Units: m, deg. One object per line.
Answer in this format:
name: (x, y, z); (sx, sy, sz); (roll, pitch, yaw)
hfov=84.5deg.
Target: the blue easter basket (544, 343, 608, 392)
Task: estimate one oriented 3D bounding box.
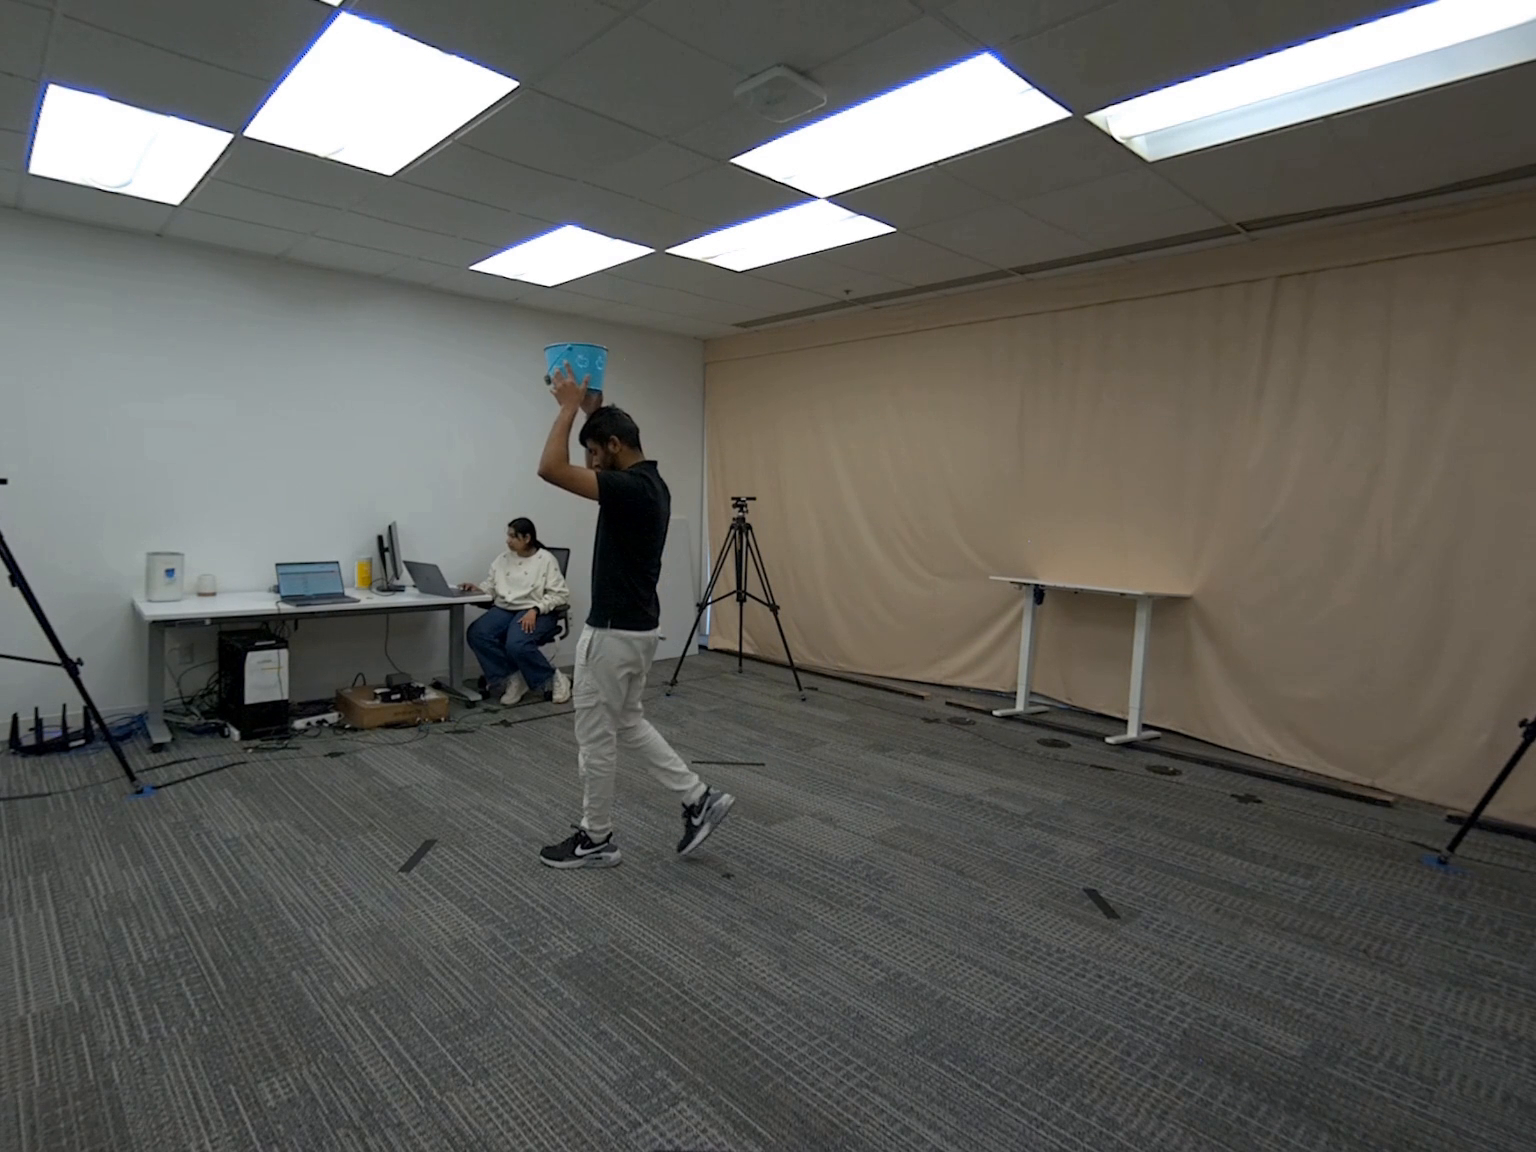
blue easter basket: (-0.720, -0.758, 3.083); (0.243, 0.155, 0.244); (0, 3, -1)
